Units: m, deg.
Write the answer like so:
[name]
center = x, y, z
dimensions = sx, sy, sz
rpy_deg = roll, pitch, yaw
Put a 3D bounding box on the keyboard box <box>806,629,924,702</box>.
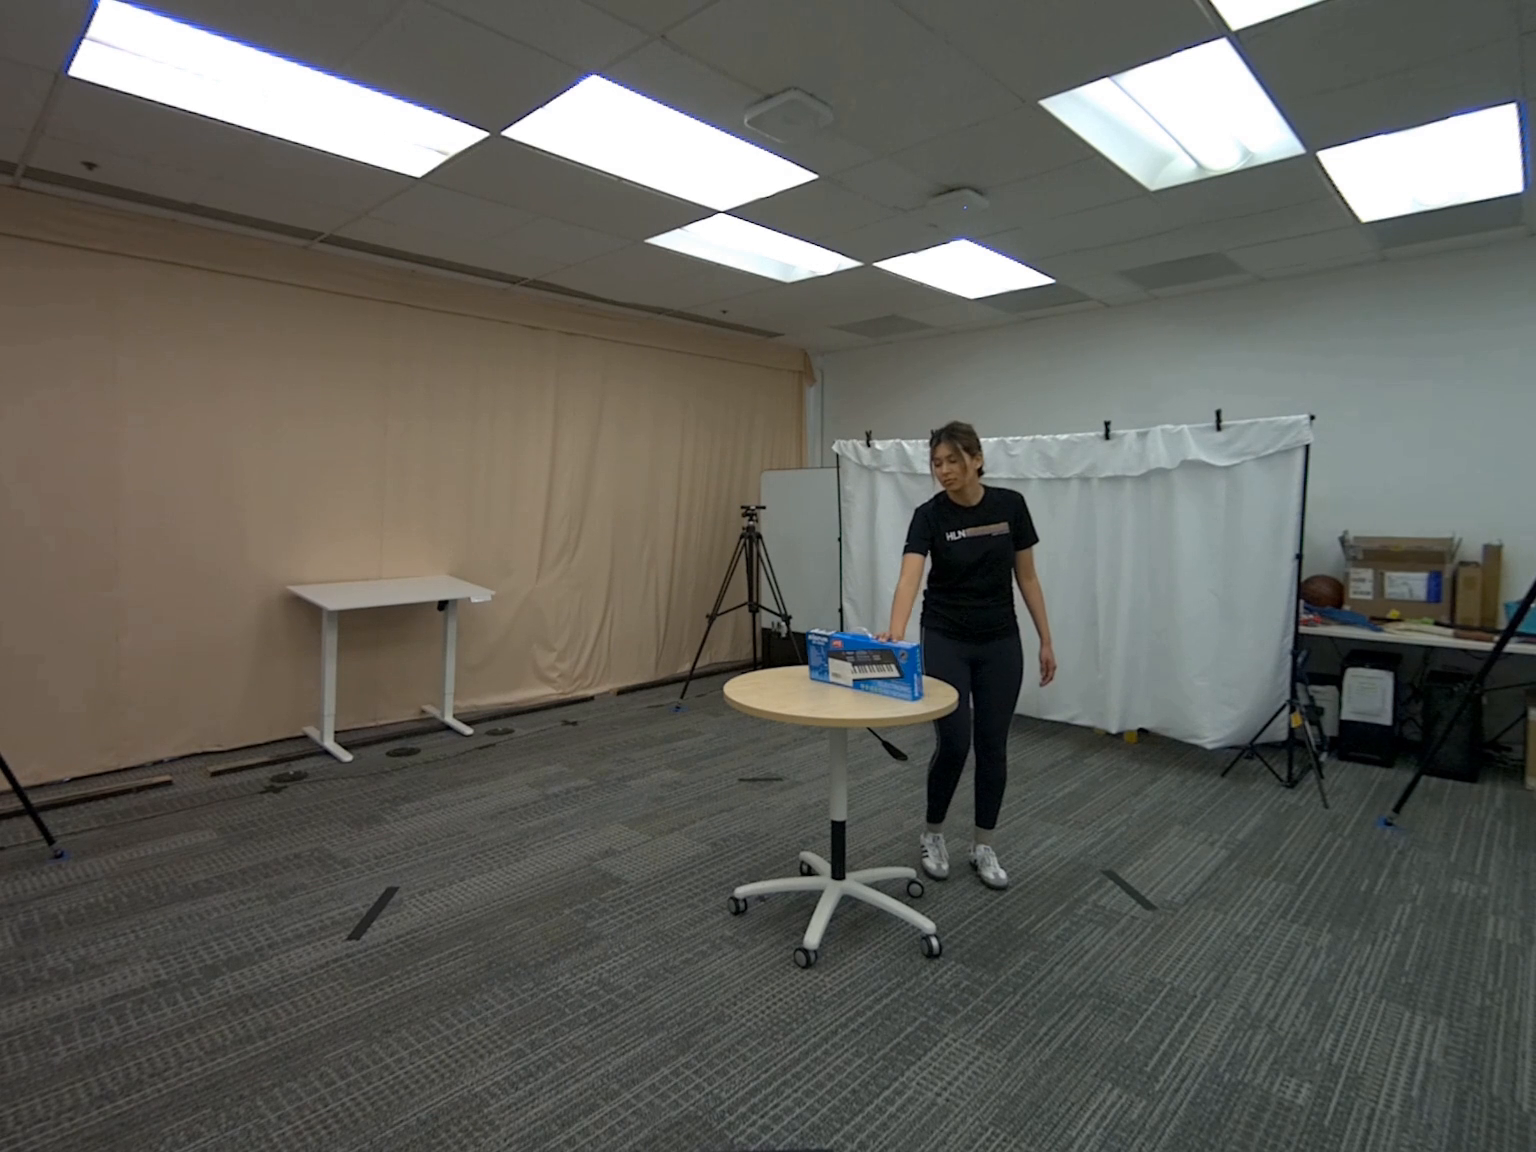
[keyboard box]
center = 0.314, 0.292, 2.783
dimensions = 0.057, 0.175, 0.451
rpy_deg = -12, 12, -42
